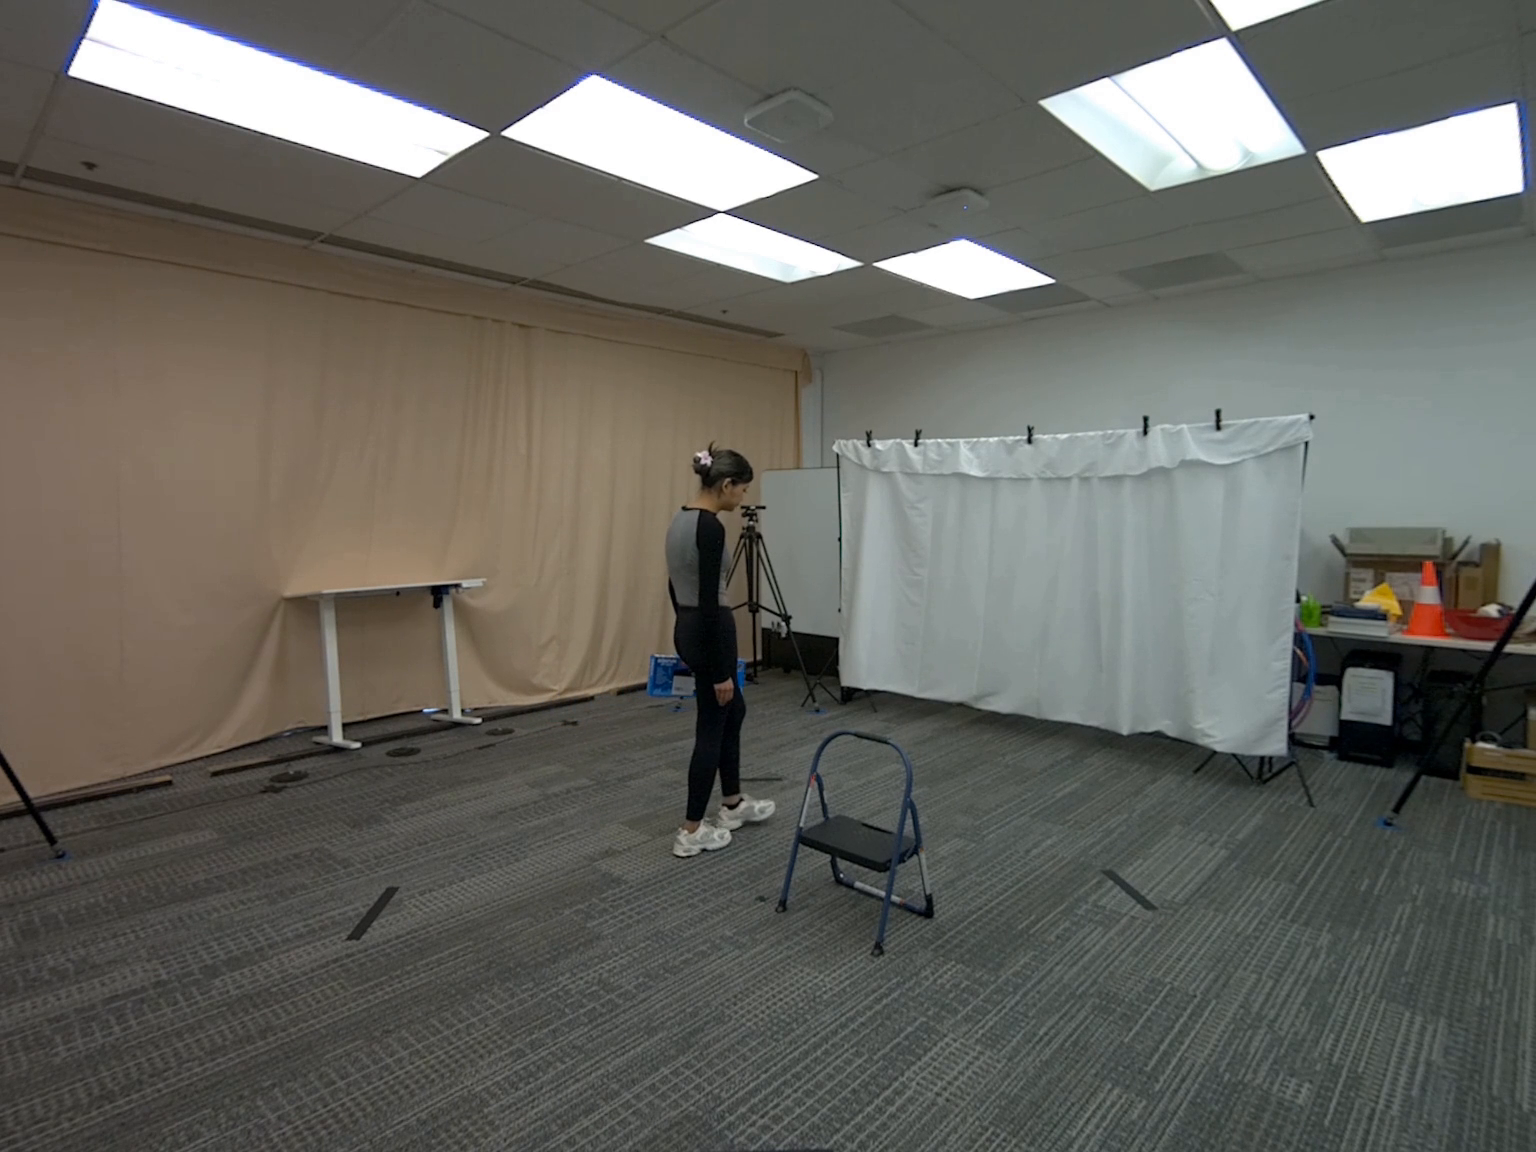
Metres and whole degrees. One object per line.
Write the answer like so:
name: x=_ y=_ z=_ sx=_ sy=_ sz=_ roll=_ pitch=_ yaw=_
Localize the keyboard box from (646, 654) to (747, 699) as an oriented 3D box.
keyboard box: x=-0.313 y=0.446 z=3.723 sx=0.425 sy=0.176 sz=0.061 roll=5 pitch=1 yaw=-26
